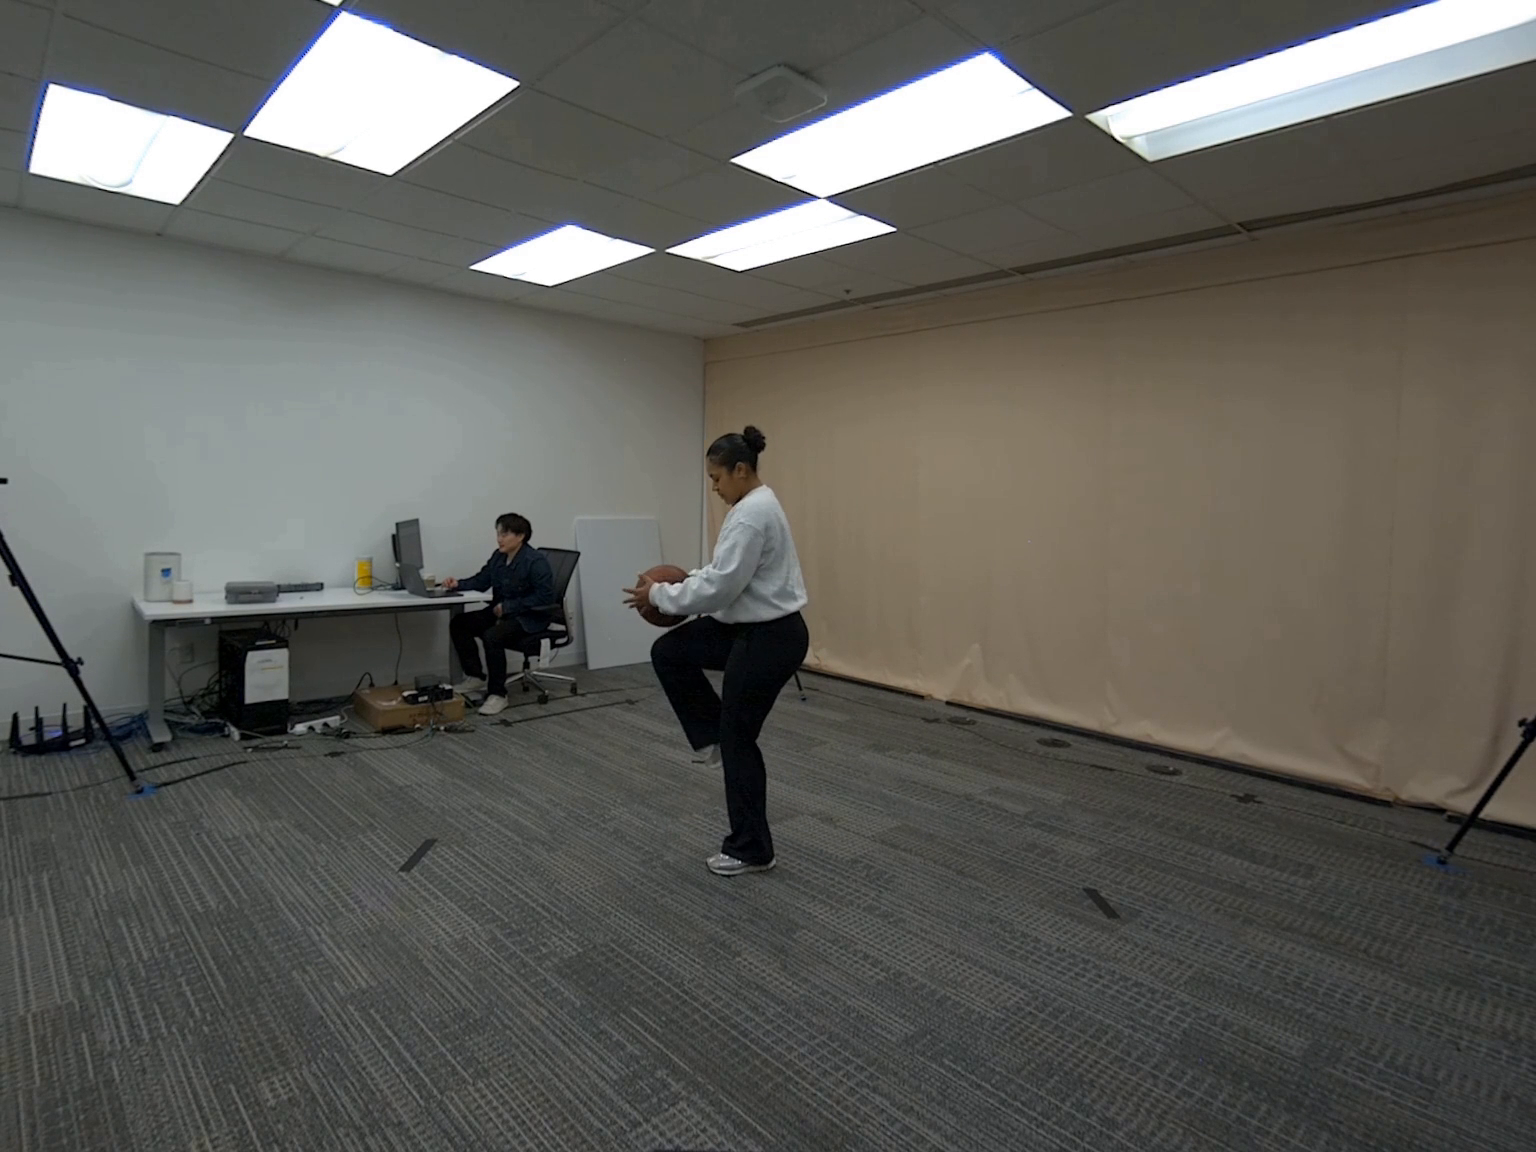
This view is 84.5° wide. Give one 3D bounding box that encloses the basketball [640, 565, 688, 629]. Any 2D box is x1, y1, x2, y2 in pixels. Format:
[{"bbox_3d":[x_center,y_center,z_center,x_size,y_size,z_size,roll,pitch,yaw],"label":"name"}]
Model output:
[{"bbox_3d":[-0.410,0.051,3.212,0.236,0.235,0.237,1,4,-1],"label":"basketball"}]
